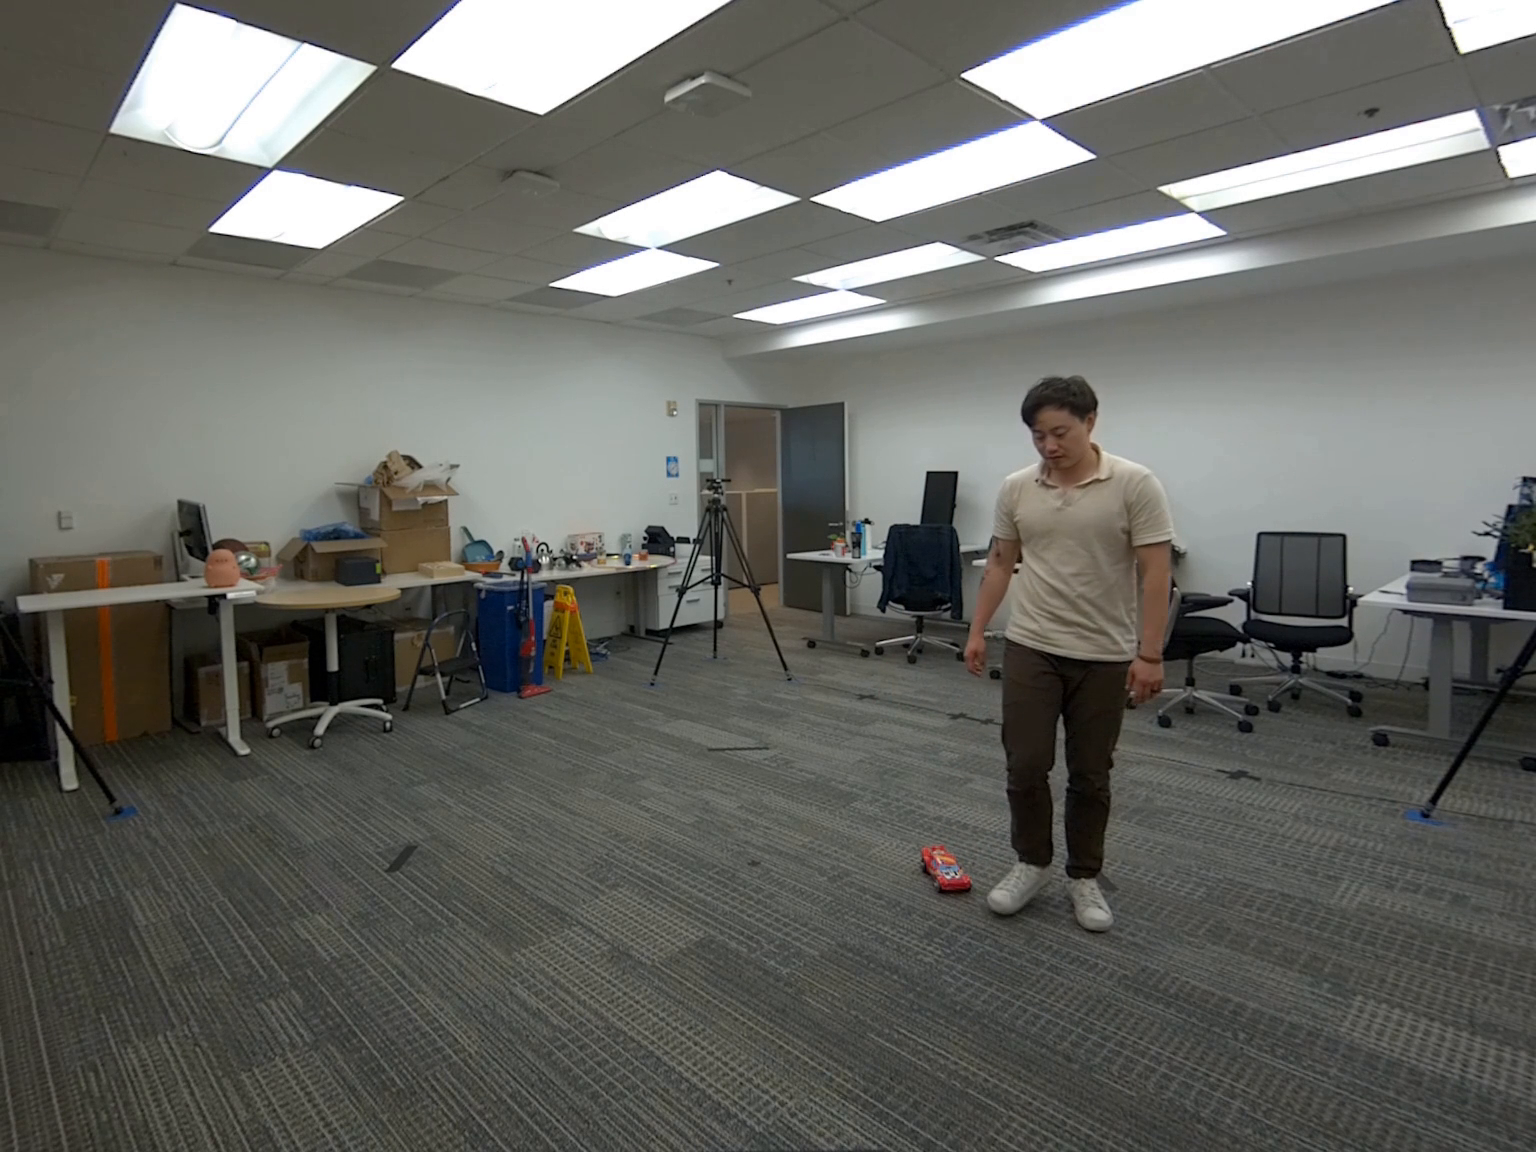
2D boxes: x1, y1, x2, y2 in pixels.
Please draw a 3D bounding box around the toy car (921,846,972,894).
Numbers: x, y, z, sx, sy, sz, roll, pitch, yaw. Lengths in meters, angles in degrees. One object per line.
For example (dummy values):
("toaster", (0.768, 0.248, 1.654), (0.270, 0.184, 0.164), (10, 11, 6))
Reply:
("toy car", (0.614, 1.018, 2.963), (0.130, 0.082, 0.259), (-3, 17, -6))
